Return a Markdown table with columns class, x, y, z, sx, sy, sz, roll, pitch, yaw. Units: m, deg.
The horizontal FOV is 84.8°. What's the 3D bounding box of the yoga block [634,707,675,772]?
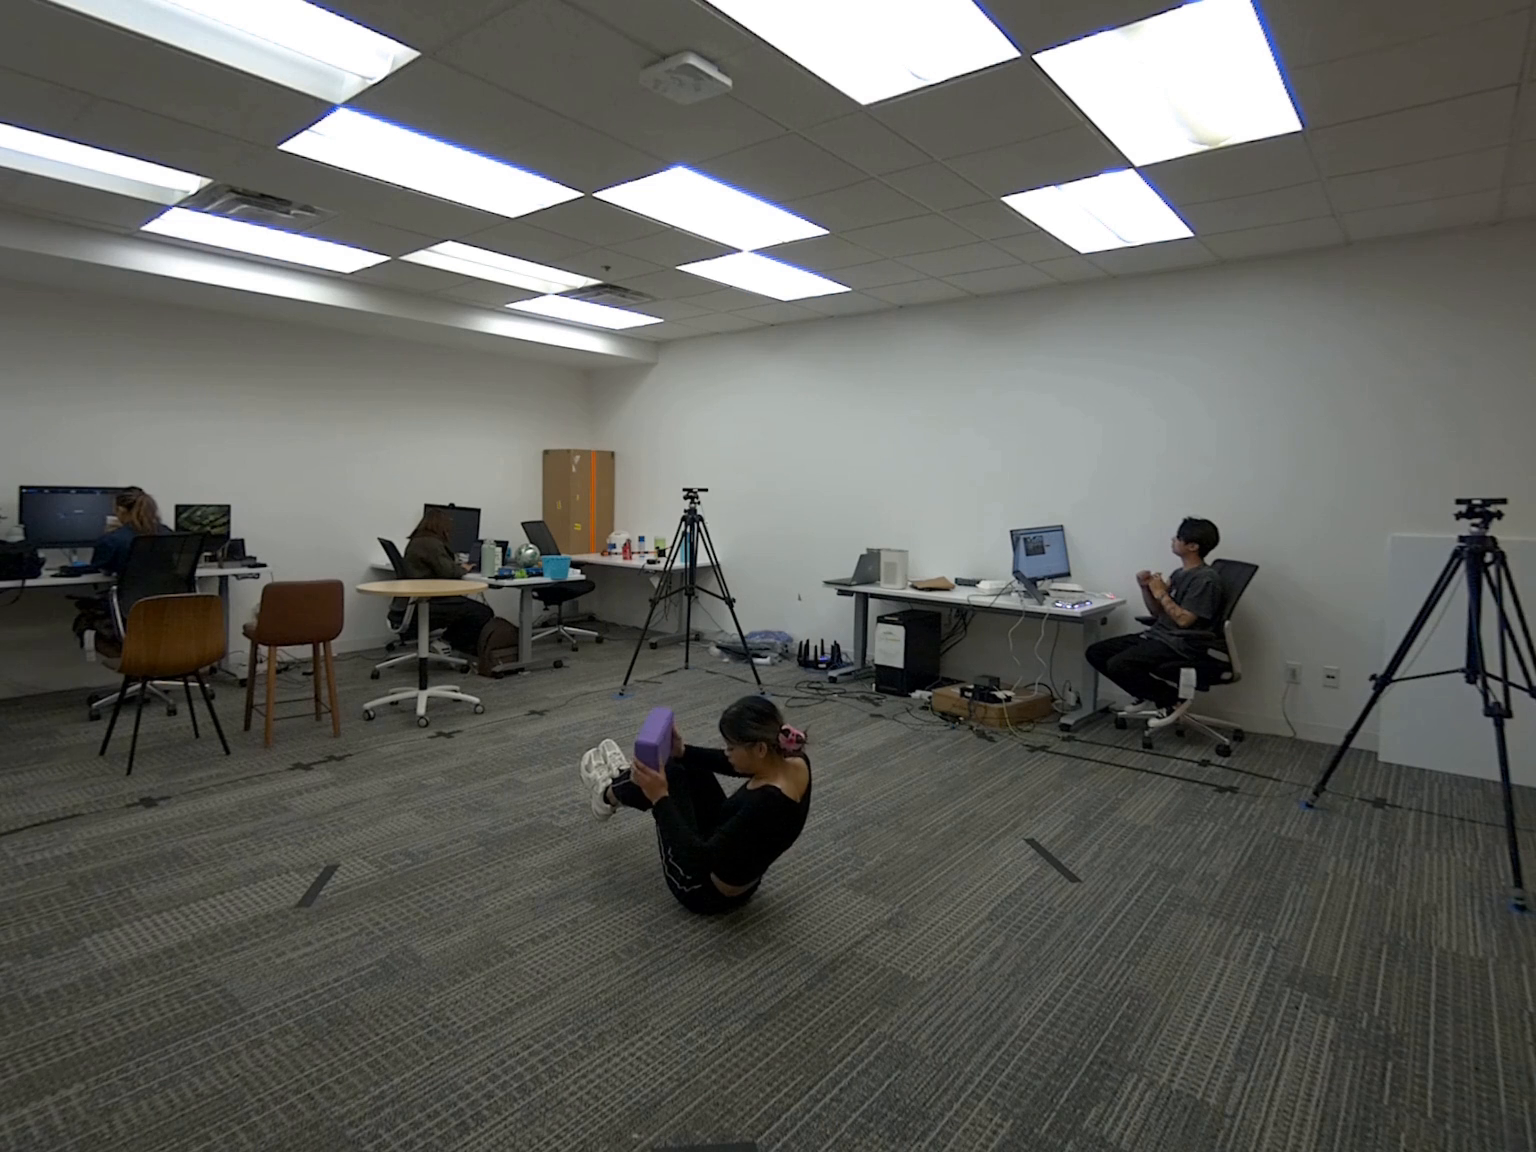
| class | x | y | z | sx | sy | sz | roll | pitch | yaw |
| --- | --- | --- | --- | --- | --- | --- | --- | --- | --- |
| yoga block | -0.360 | 0.545 | 2.727 | 0.077 | 0.146 | 0.231 | 1 | 18 | 6 |
